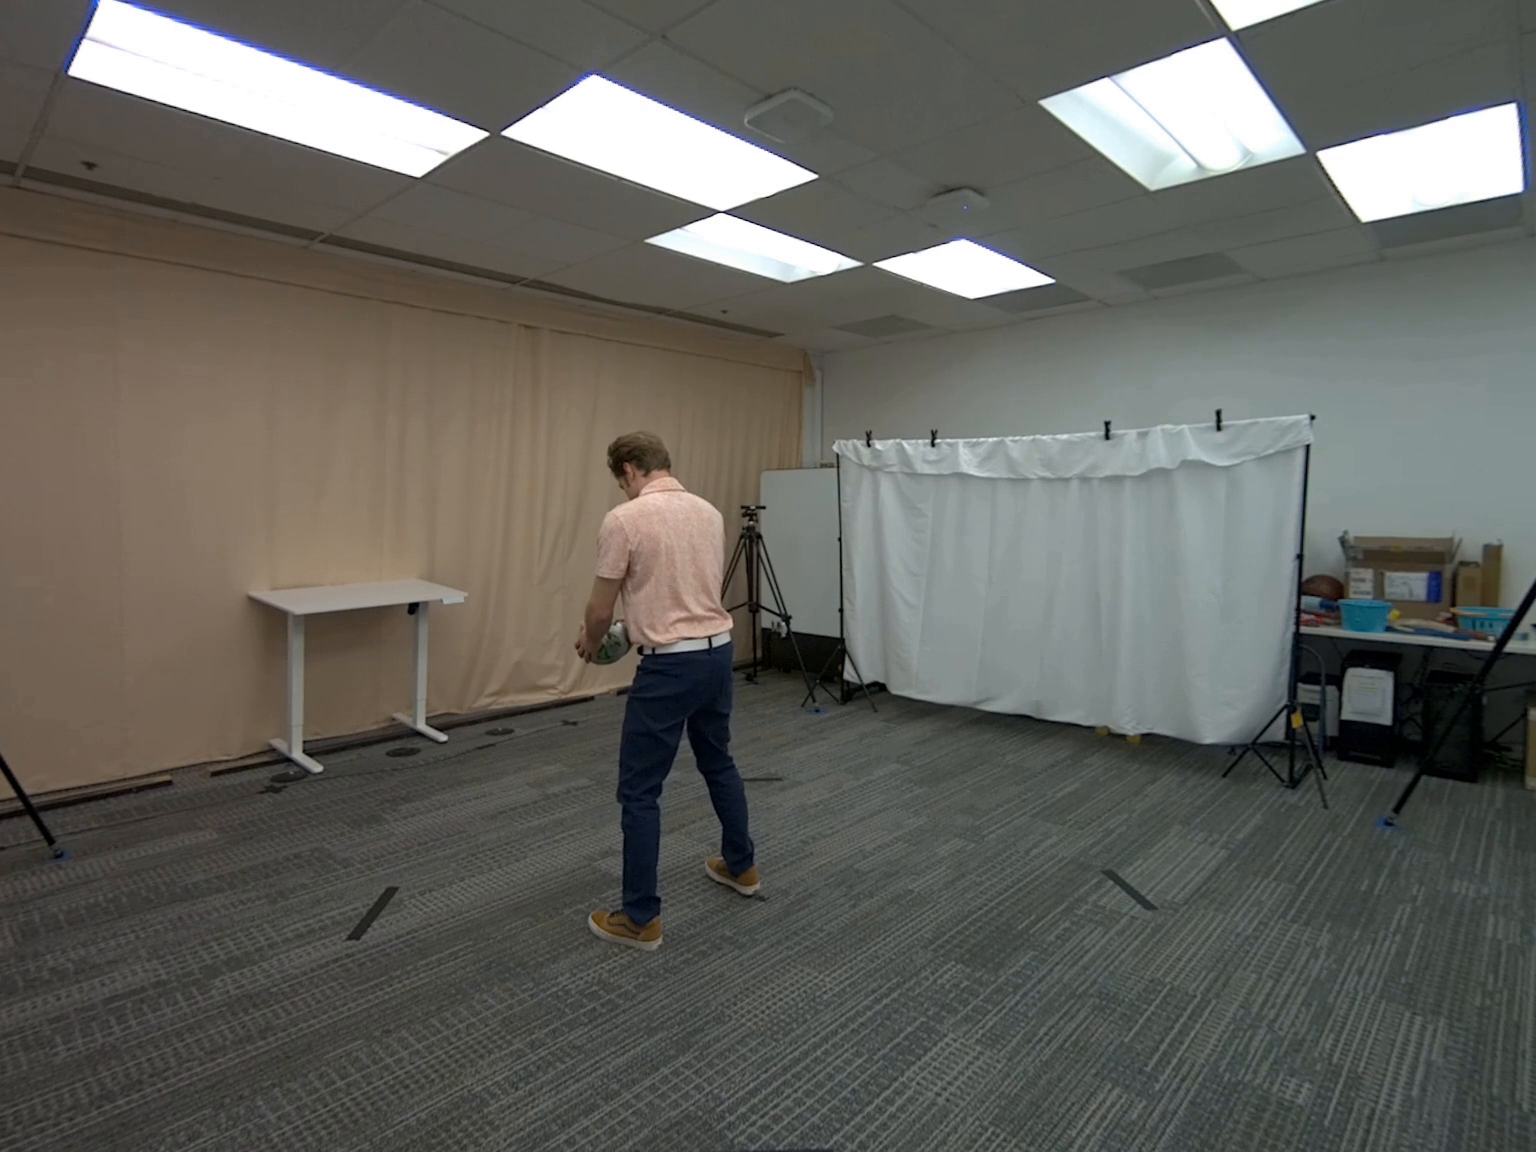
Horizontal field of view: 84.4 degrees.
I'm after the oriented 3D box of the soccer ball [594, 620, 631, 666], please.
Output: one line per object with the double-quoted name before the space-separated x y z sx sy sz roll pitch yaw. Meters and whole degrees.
"soccer ball" -0.610 0.237 3.118 0.187 0.187 0.188 0 4 -2
